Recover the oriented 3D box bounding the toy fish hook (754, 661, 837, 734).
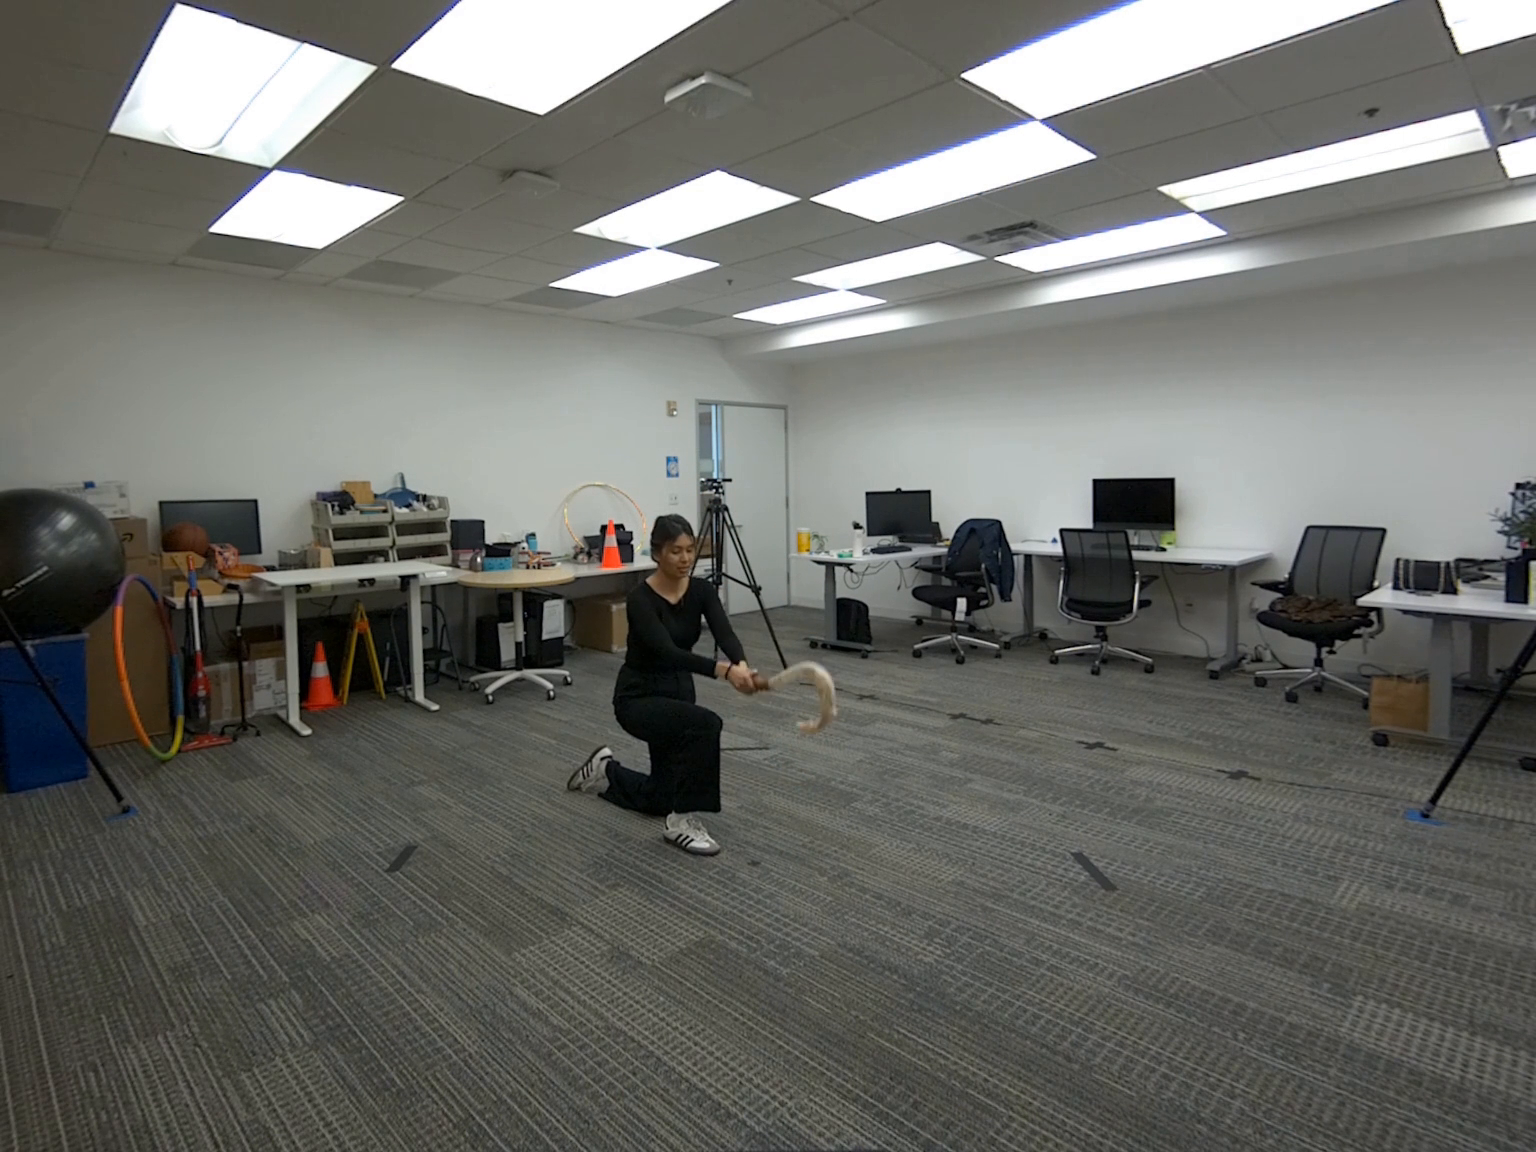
[{"bbox_3d":[0.035,0.394,2.859,0.047,0.226,0.517,3,-9,-36],"label":"toy fish hook"}]
